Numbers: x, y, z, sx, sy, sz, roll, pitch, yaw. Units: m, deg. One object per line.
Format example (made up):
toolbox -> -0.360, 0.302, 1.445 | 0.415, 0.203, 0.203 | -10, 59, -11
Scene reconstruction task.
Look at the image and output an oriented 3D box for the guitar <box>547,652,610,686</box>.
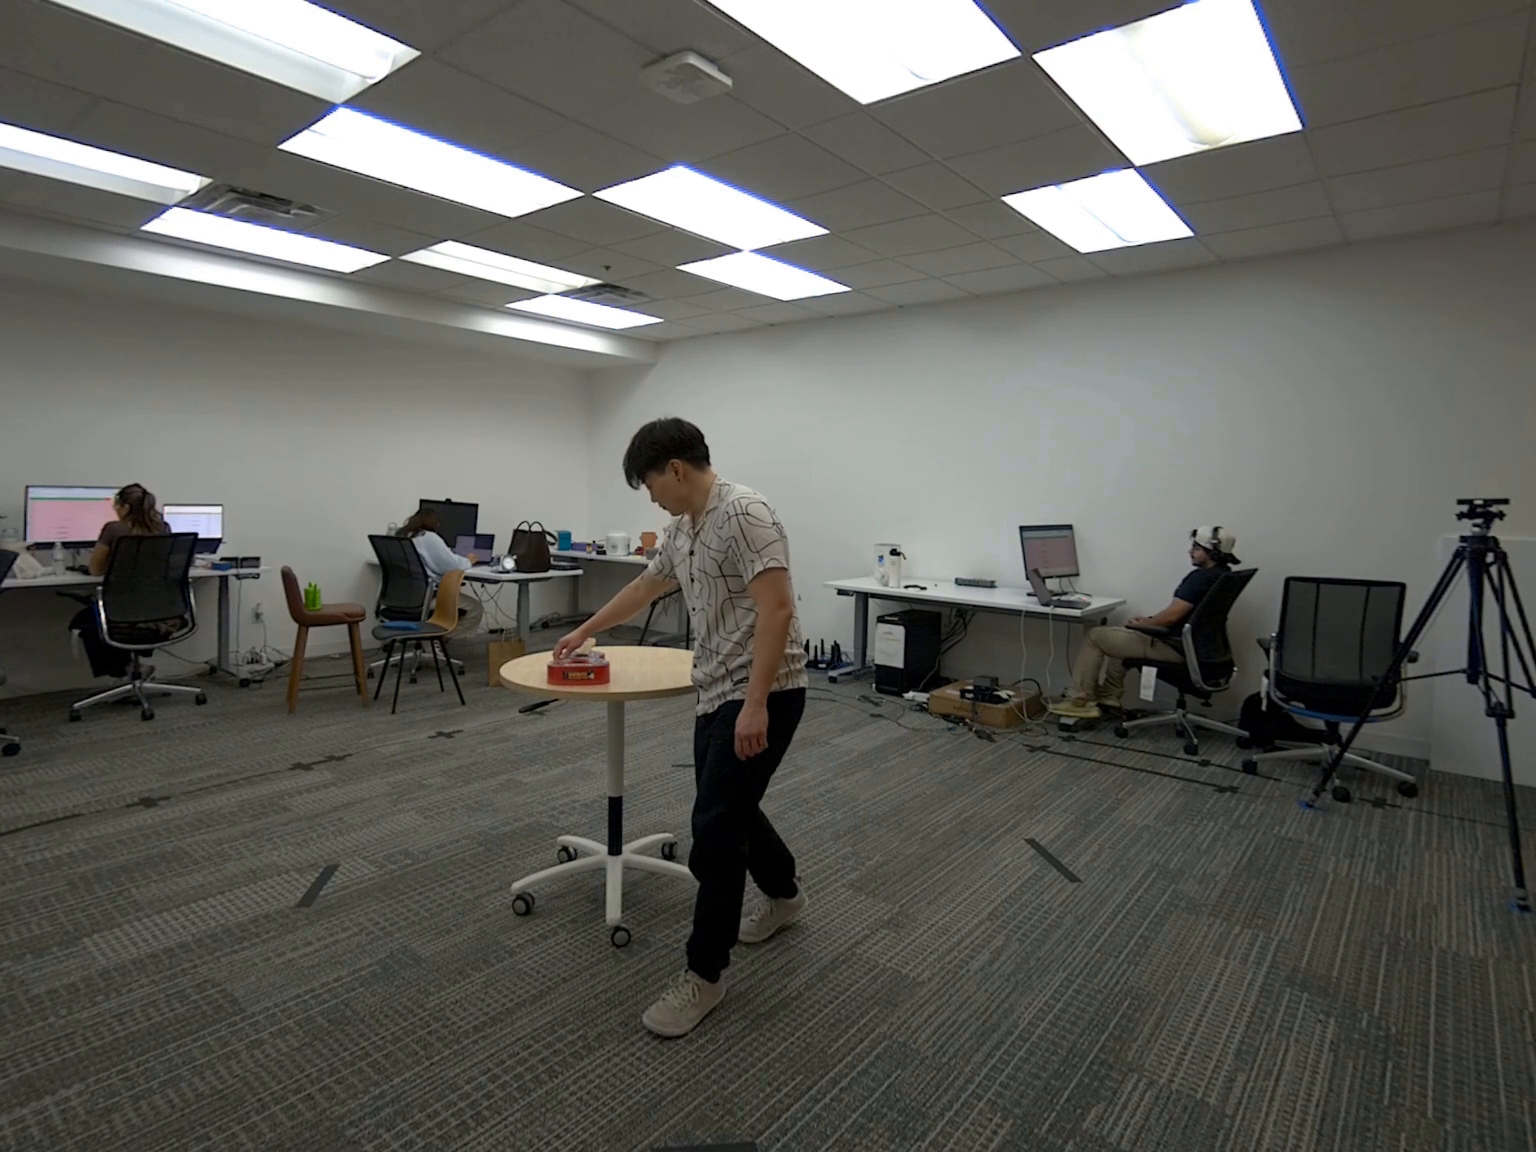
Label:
guitar -> -0.599, 0.277, 2.815 | 0.193, 0.070, 0.498 | -1, 6, 1
